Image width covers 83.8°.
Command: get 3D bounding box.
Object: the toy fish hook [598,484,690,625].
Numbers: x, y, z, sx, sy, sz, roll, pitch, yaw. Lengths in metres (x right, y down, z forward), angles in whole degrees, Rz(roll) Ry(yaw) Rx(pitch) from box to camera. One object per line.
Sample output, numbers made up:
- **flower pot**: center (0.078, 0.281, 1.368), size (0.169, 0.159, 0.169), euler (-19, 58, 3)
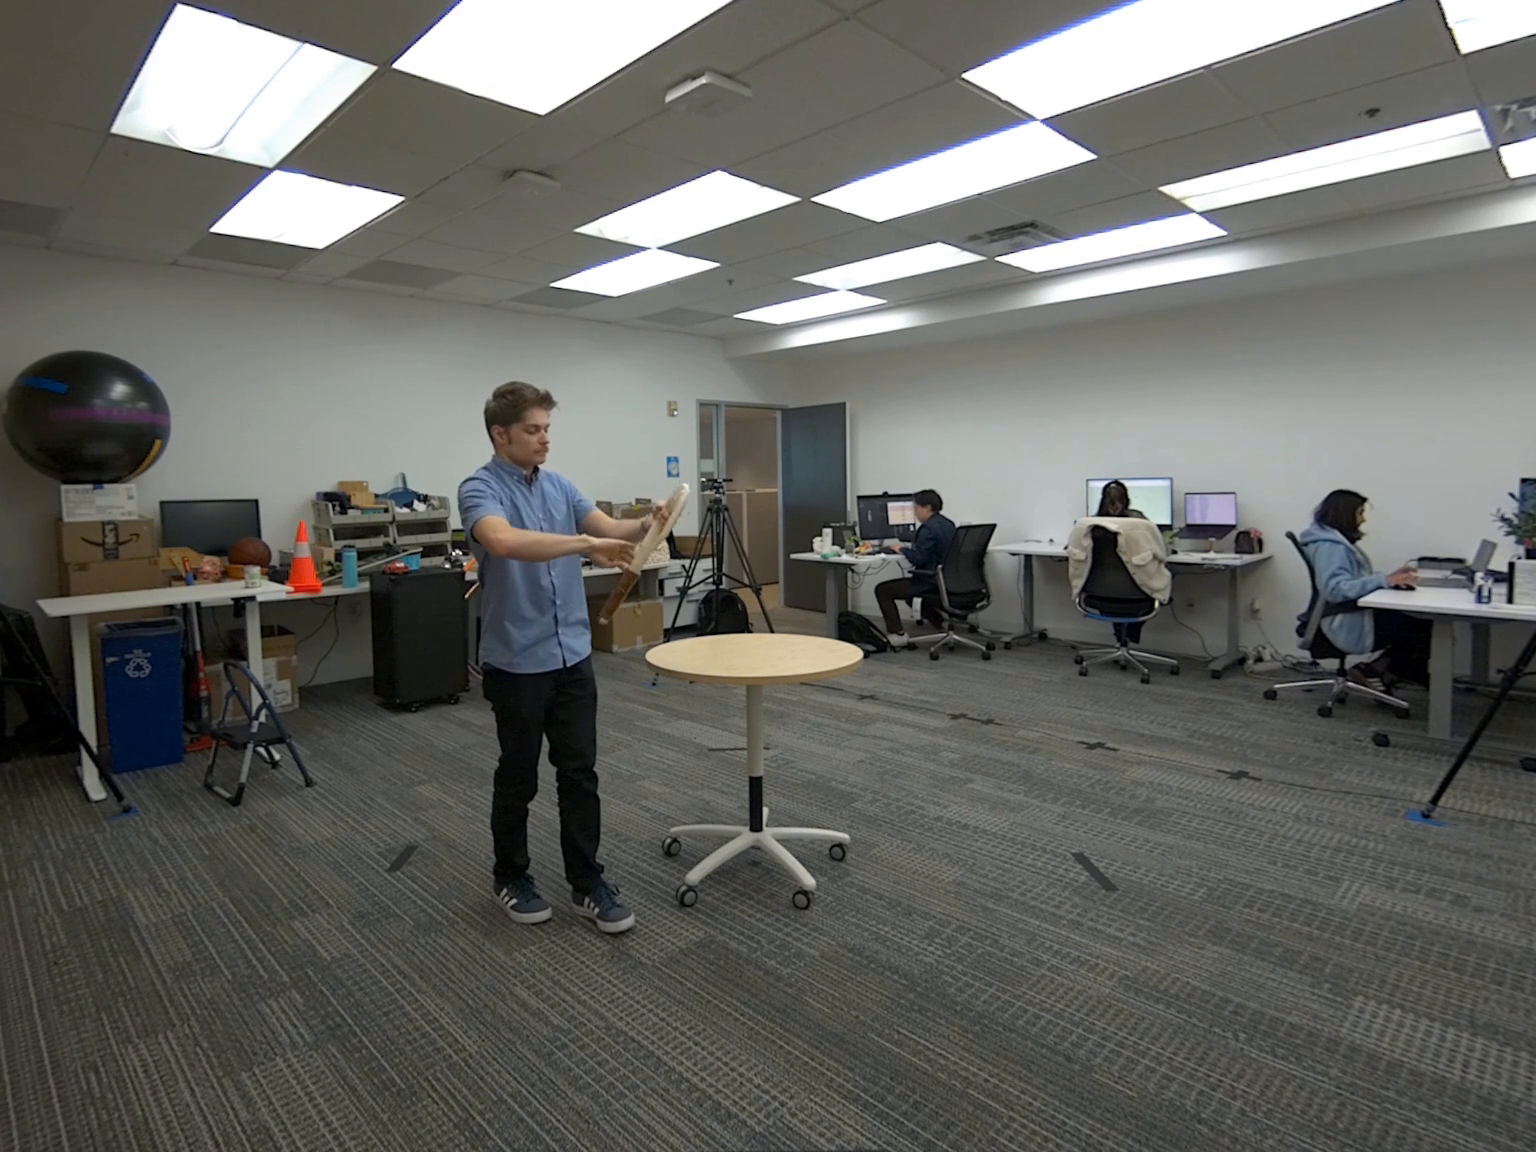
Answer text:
- **toy fish hook**: center (-0.363, -0.033, 2.462), size (0.047, 0.505, 0.228), euler (30, 11, -13)
